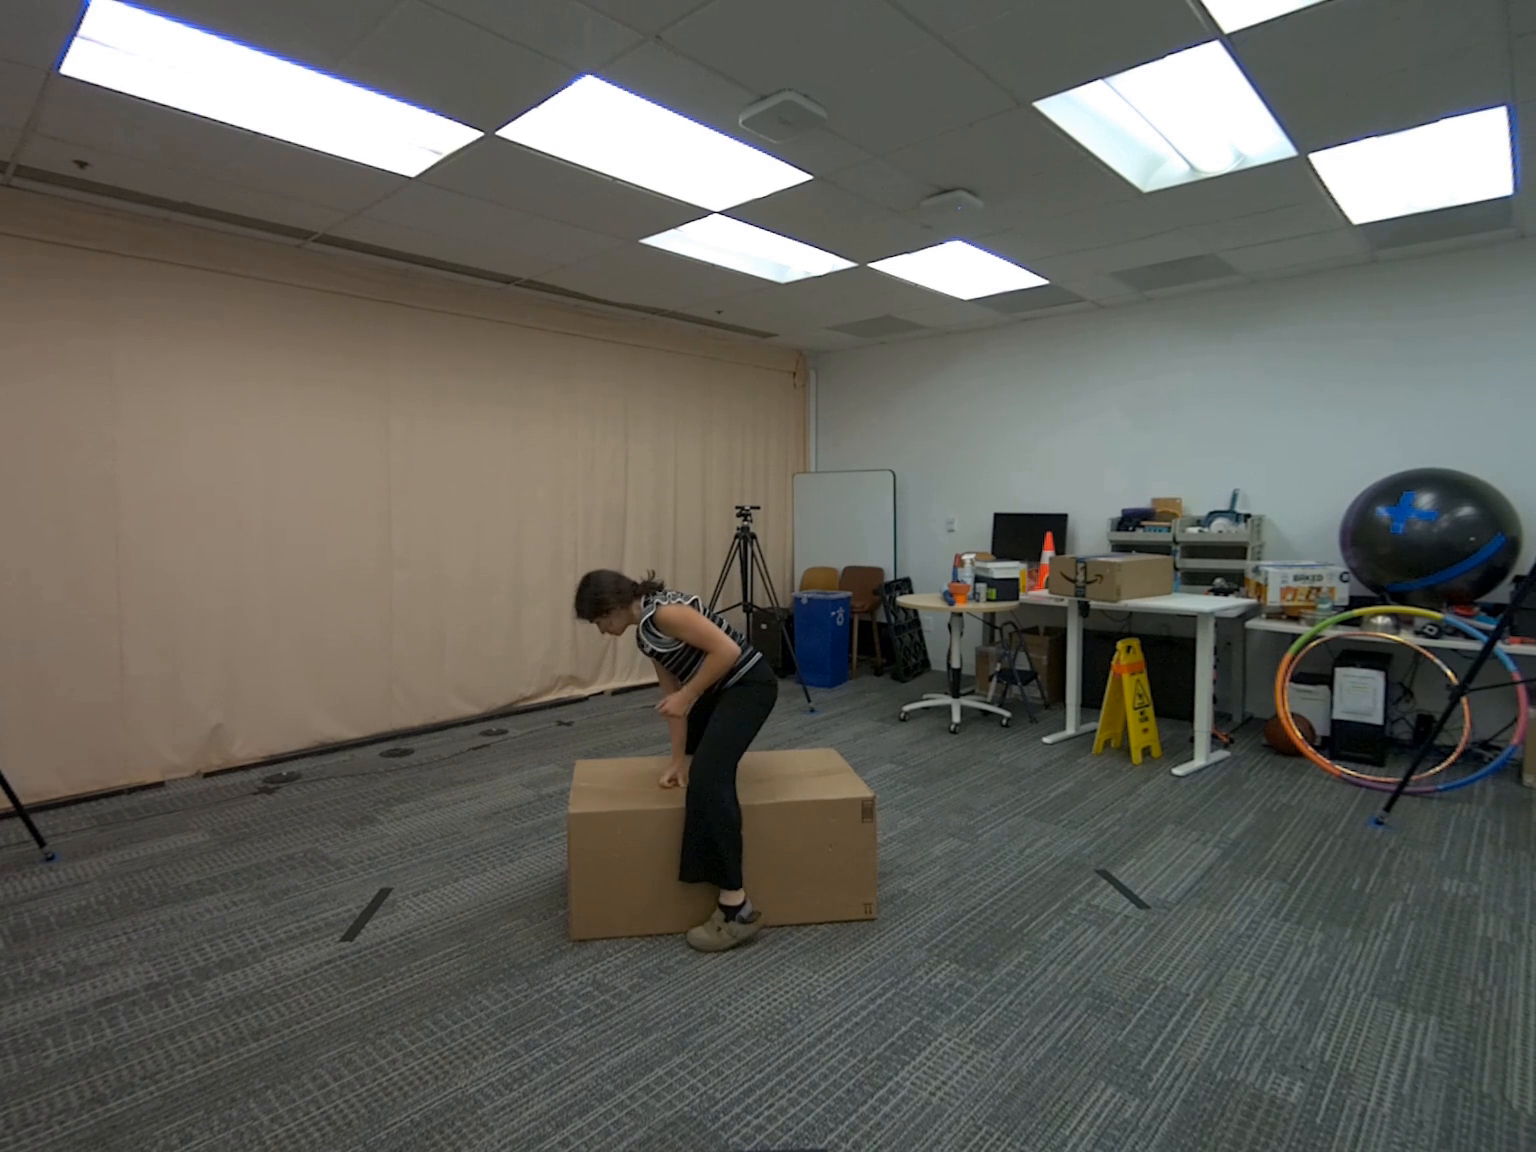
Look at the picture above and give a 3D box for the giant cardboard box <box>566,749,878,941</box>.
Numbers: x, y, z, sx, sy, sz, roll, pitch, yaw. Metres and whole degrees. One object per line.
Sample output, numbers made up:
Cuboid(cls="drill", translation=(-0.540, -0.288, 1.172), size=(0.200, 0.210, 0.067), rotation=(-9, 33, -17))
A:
Cuboid(cls="giant cardboard box", translation=(-0.188, 0.937, 3.032), size=(1.018, 0.425, 0.583), rotation=(-1, 4, -8))
